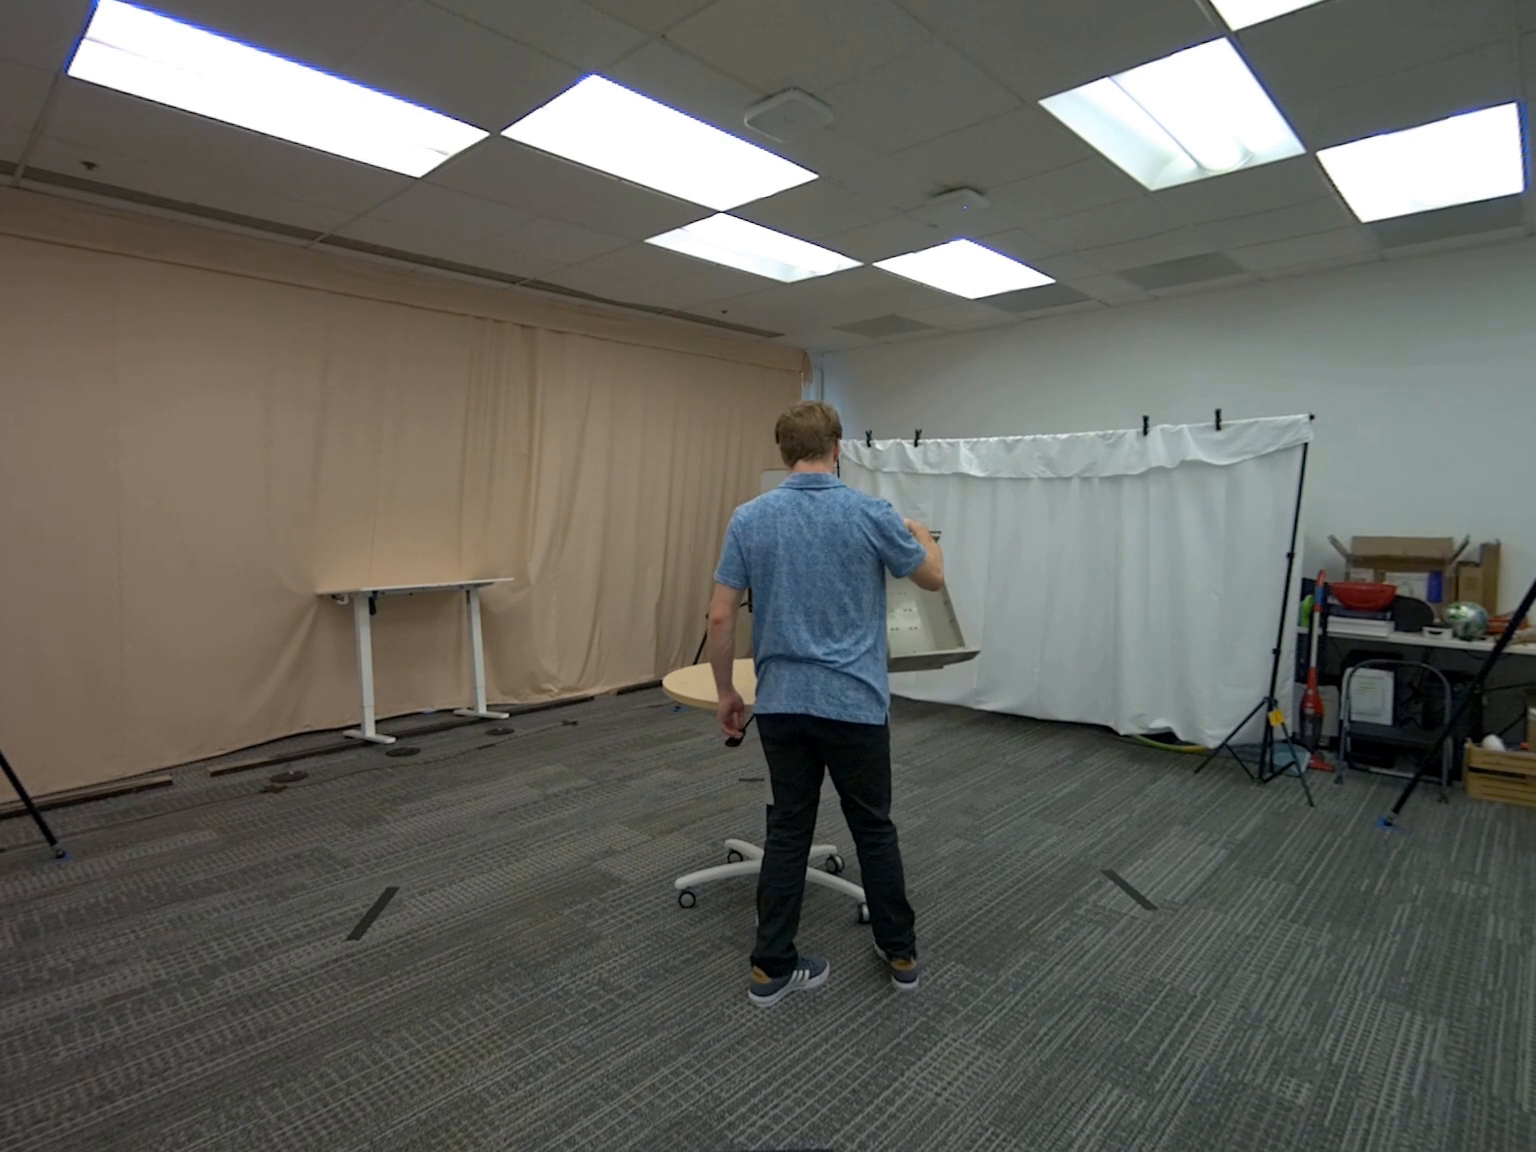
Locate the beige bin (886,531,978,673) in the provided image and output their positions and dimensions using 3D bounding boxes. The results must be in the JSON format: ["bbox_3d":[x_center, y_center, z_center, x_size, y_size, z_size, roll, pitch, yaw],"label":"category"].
[{"bbox_3d":[0.451,0.083,2.692,0.369,0.430,0.189,-2,-25,-22],"label":"beige bin"}]
